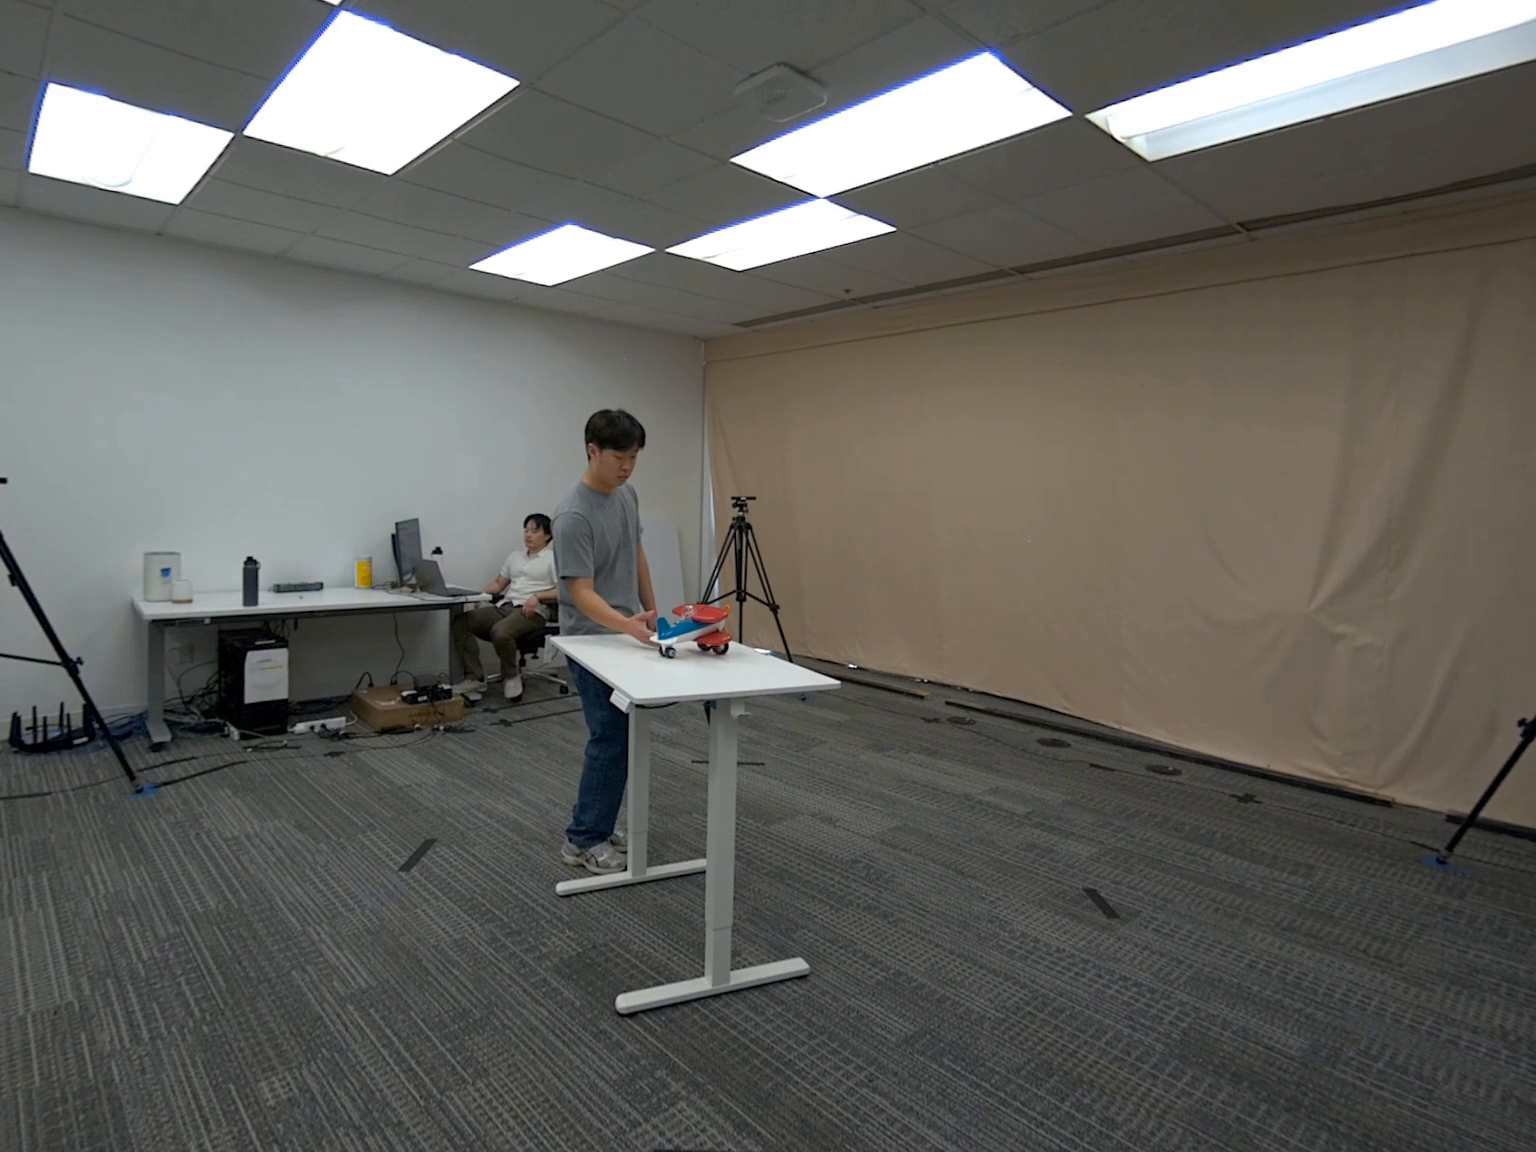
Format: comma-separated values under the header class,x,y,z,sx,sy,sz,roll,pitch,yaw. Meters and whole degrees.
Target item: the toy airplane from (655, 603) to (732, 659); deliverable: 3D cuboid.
class,x,y,z,sx,sy,sz,roll,pitch,yaw
toy airplane,-0.241,0.180,2.703,0.256,0.156,0.255,3,3,23
